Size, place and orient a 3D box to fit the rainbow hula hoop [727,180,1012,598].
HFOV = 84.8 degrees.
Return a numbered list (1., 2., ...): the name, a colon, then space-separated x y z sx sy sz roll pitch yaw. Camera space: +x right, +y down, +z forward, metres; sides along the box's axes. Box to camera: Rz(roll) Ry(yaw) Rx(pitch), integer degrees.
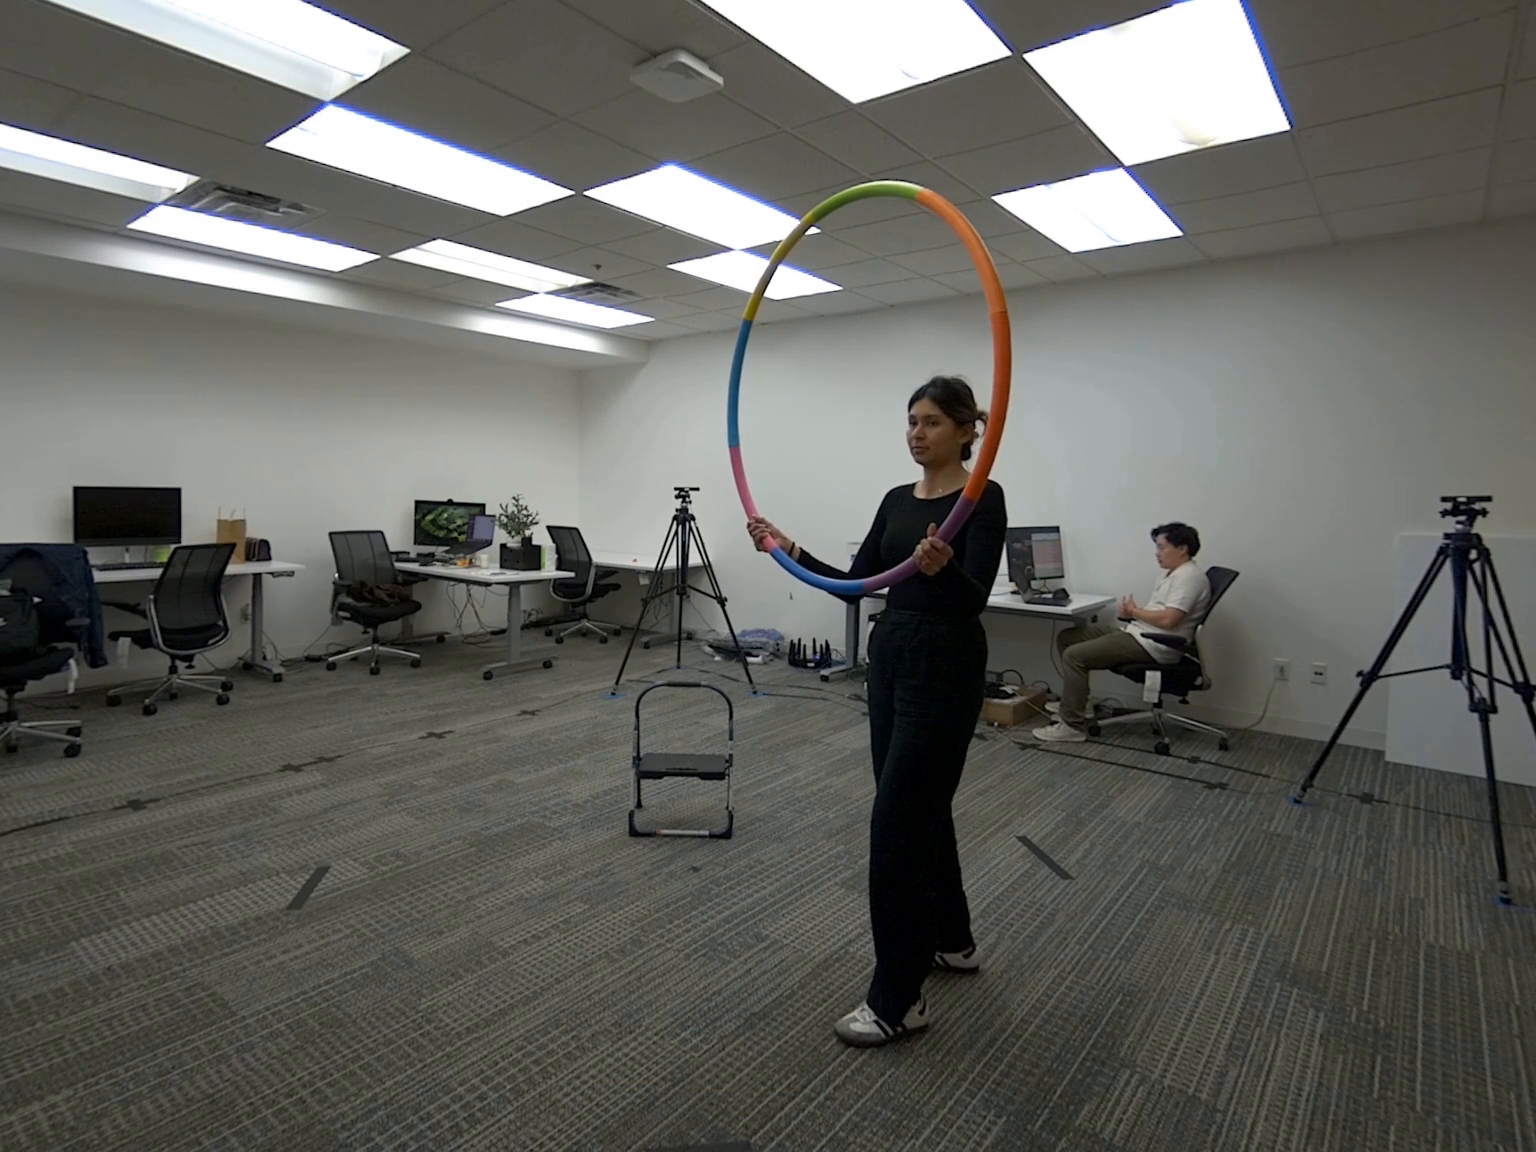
1. rainbow hula hoop: 0.171 -0.448 2.085 0.034 0.976 1.010 -1 4 -35
